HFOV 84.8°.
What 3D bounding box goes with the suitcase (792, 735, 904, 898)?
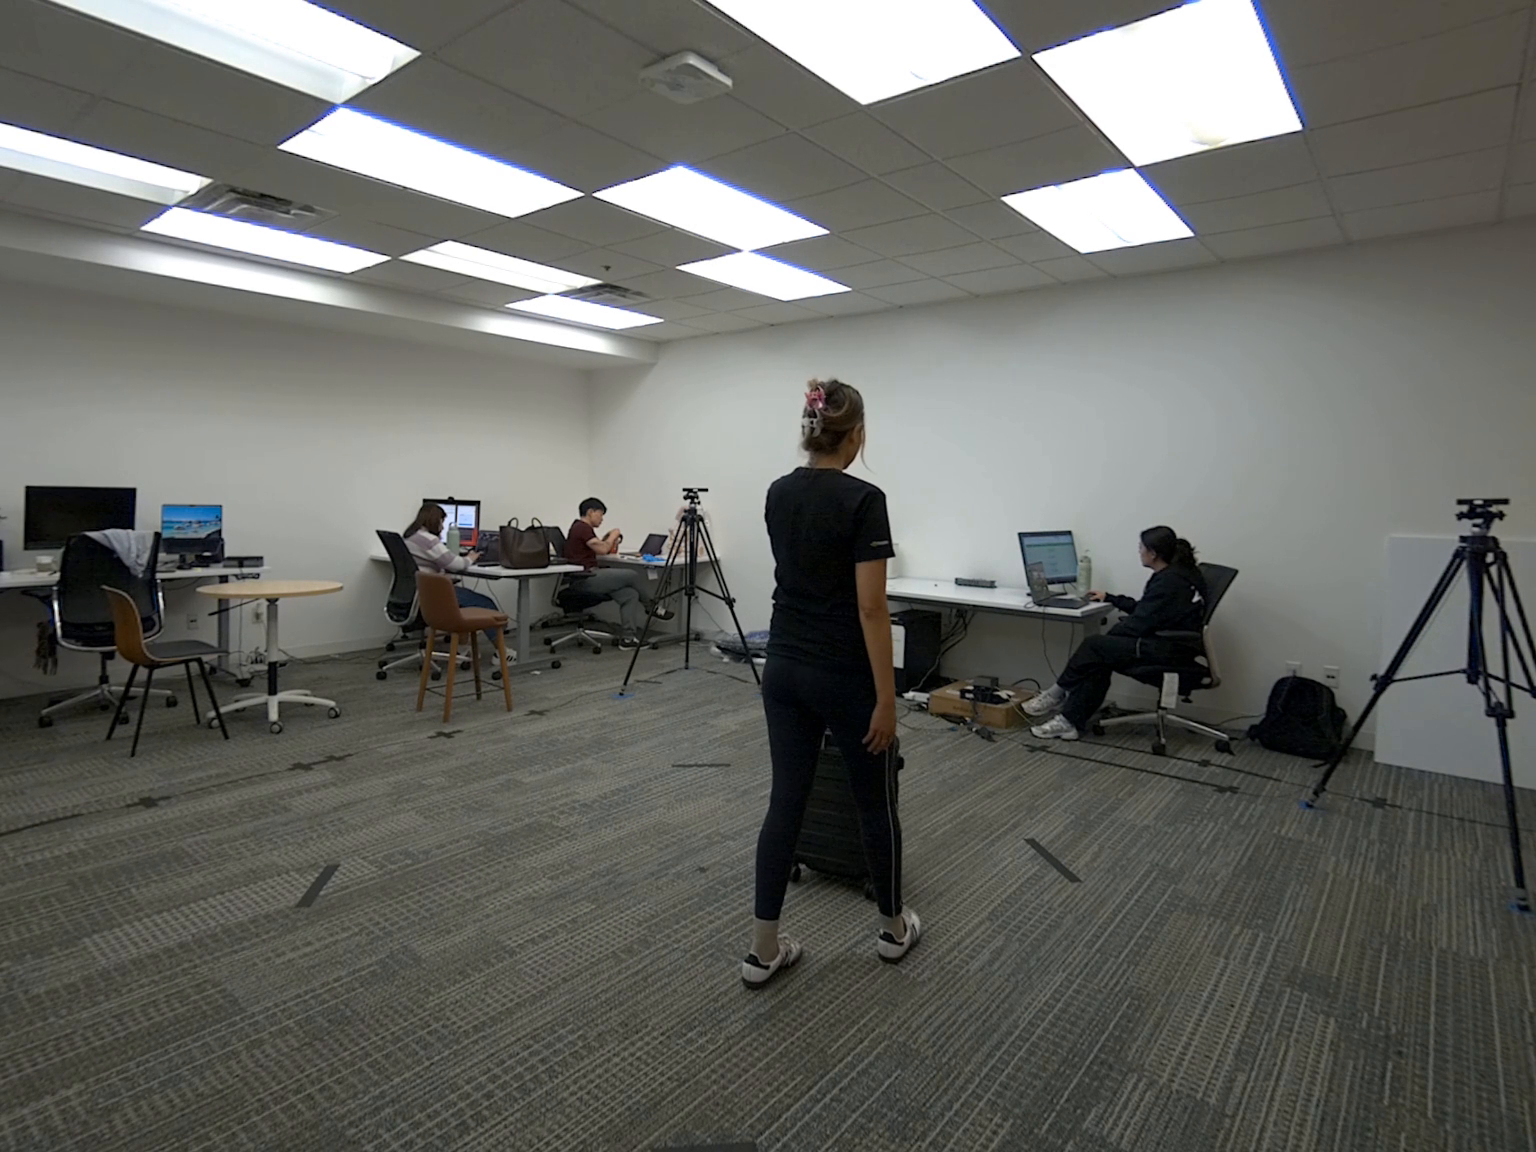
[{"bbox_3d":[0.286,0.606,3.079,0.394,0.979,0.250,3,-1,25],"label":"suitcase"}]
